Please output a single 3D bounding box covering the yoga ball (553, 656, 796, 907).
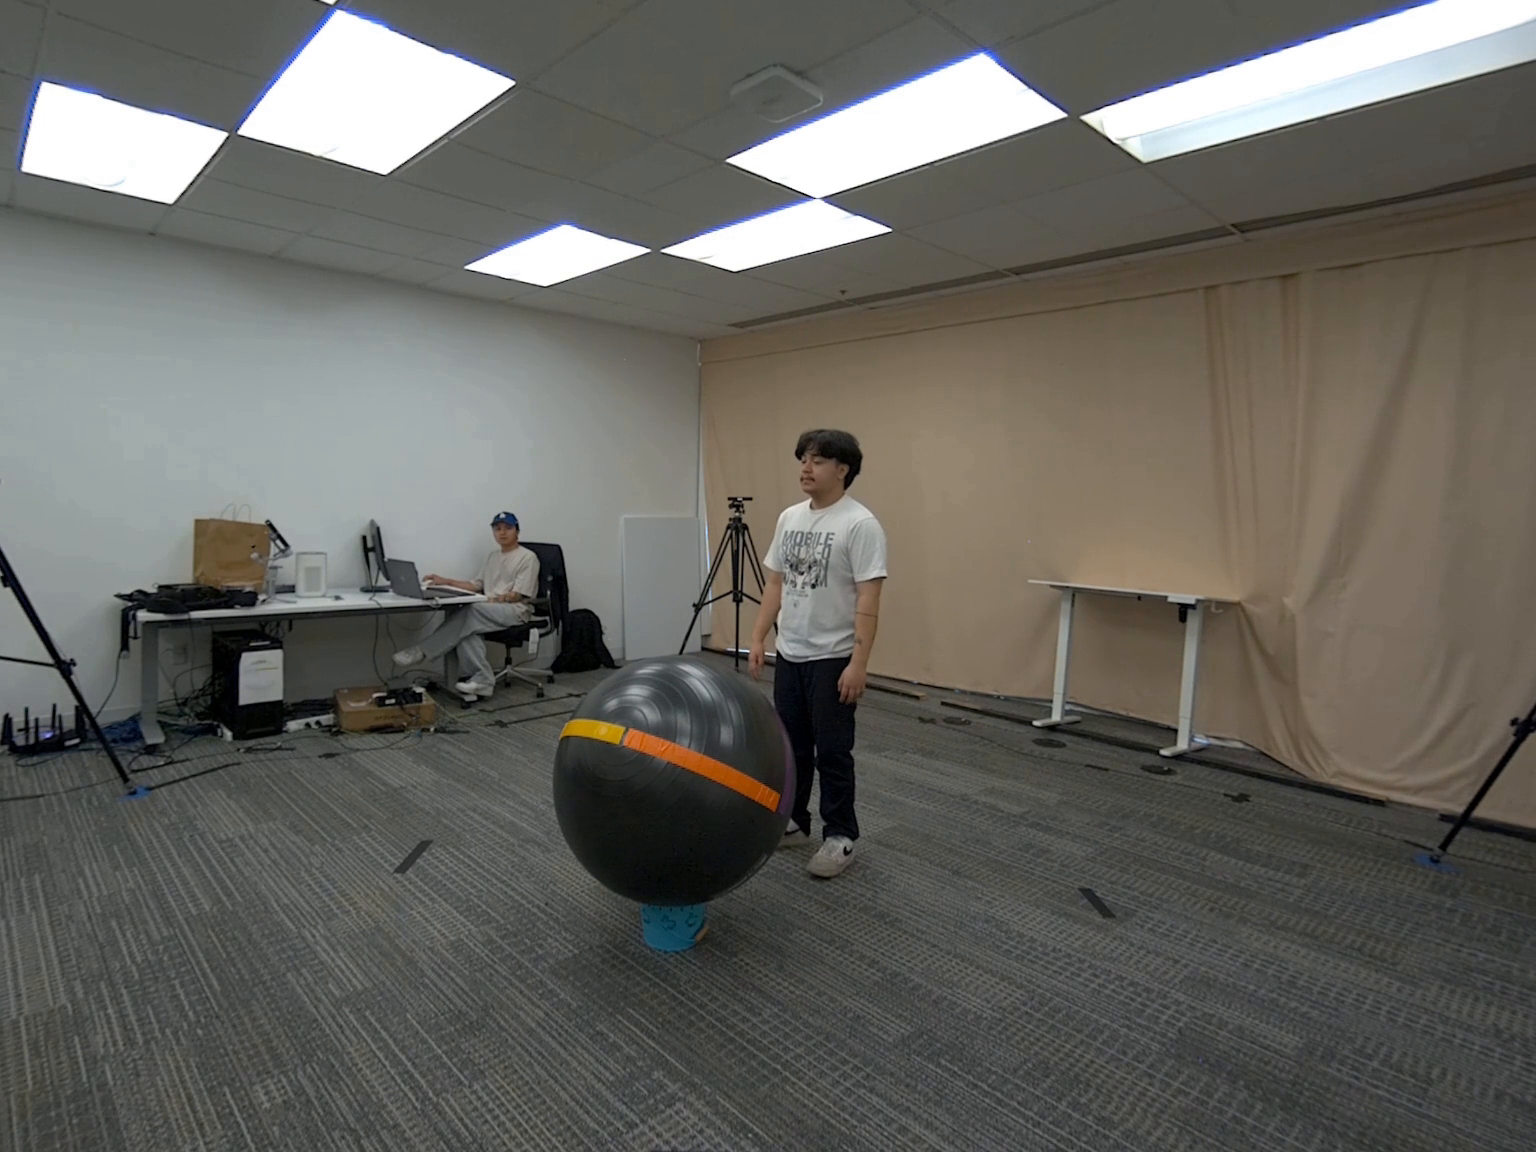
[{"bbox_3d":[-0.301,0.639,2.651,0.757,0.756,0.760,1,4,-1],"label":"yoga ball"}]
